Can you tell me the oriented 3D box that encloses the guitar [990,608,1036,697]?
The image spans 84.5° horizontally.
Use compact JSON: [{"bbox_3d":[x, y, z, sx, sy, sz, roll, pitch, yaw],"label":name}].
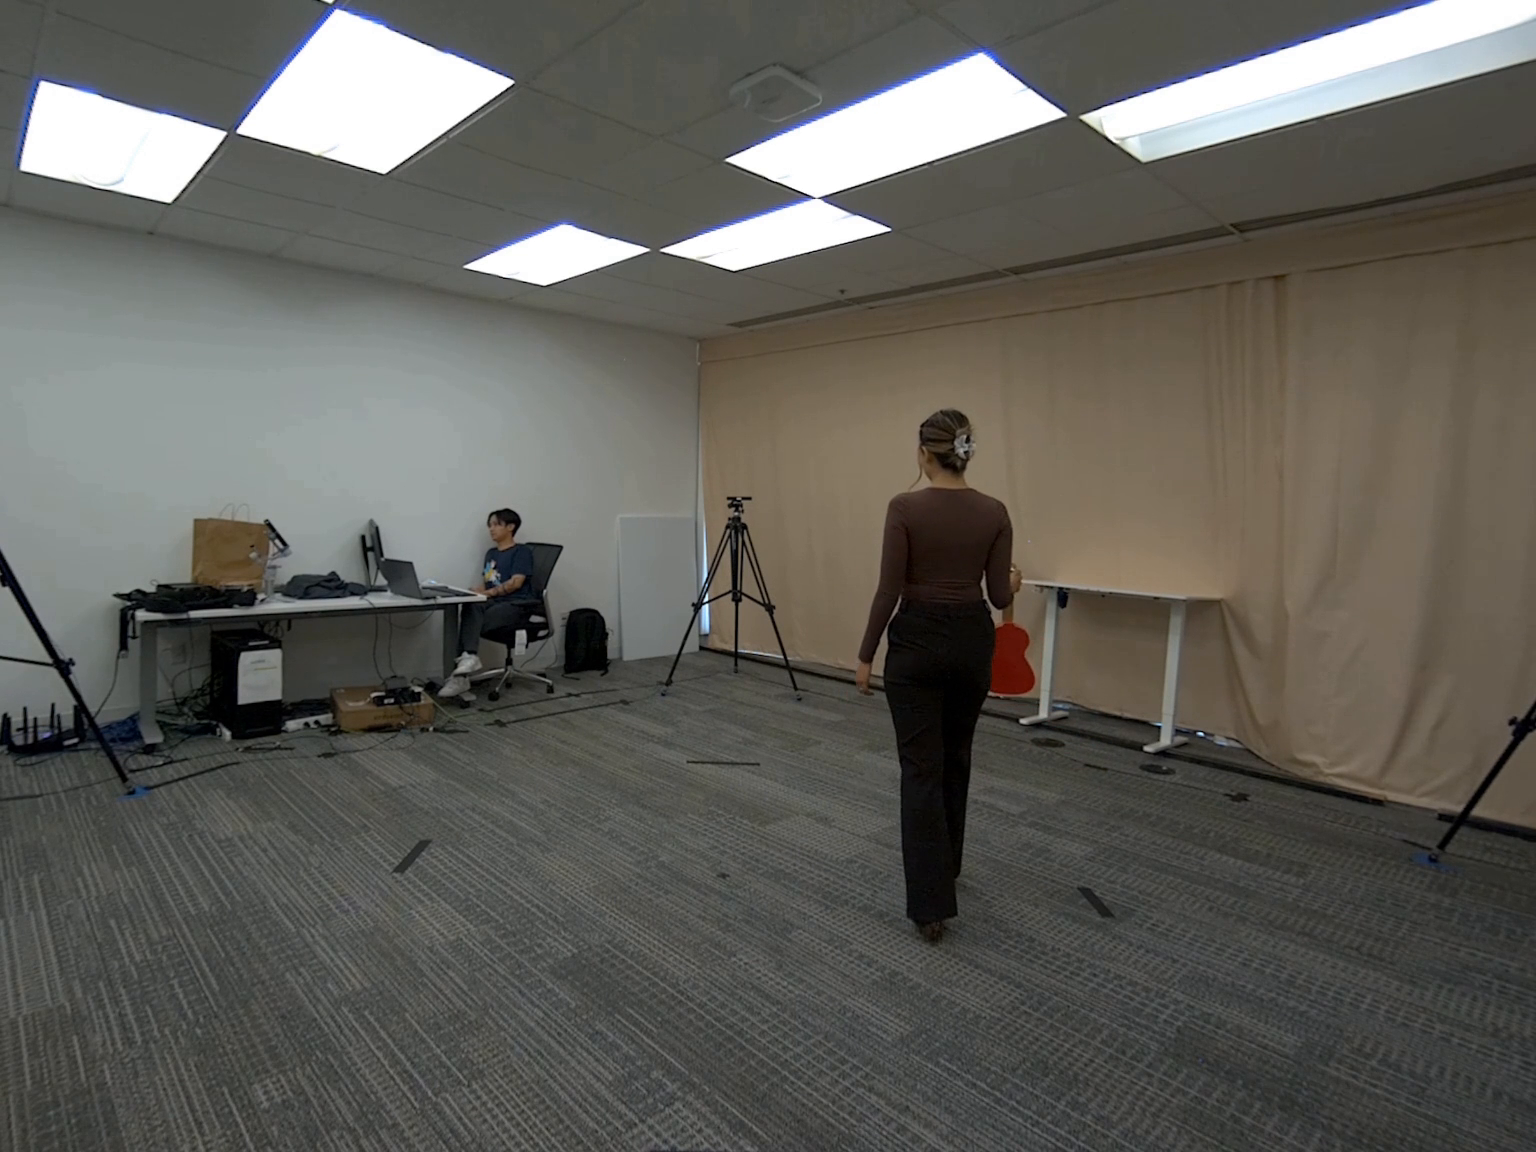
[{"bbox_3d":[0.870,0.200,3.188,0.194,0.495,0.070,-6,6,12],"label":"guitar"}]
